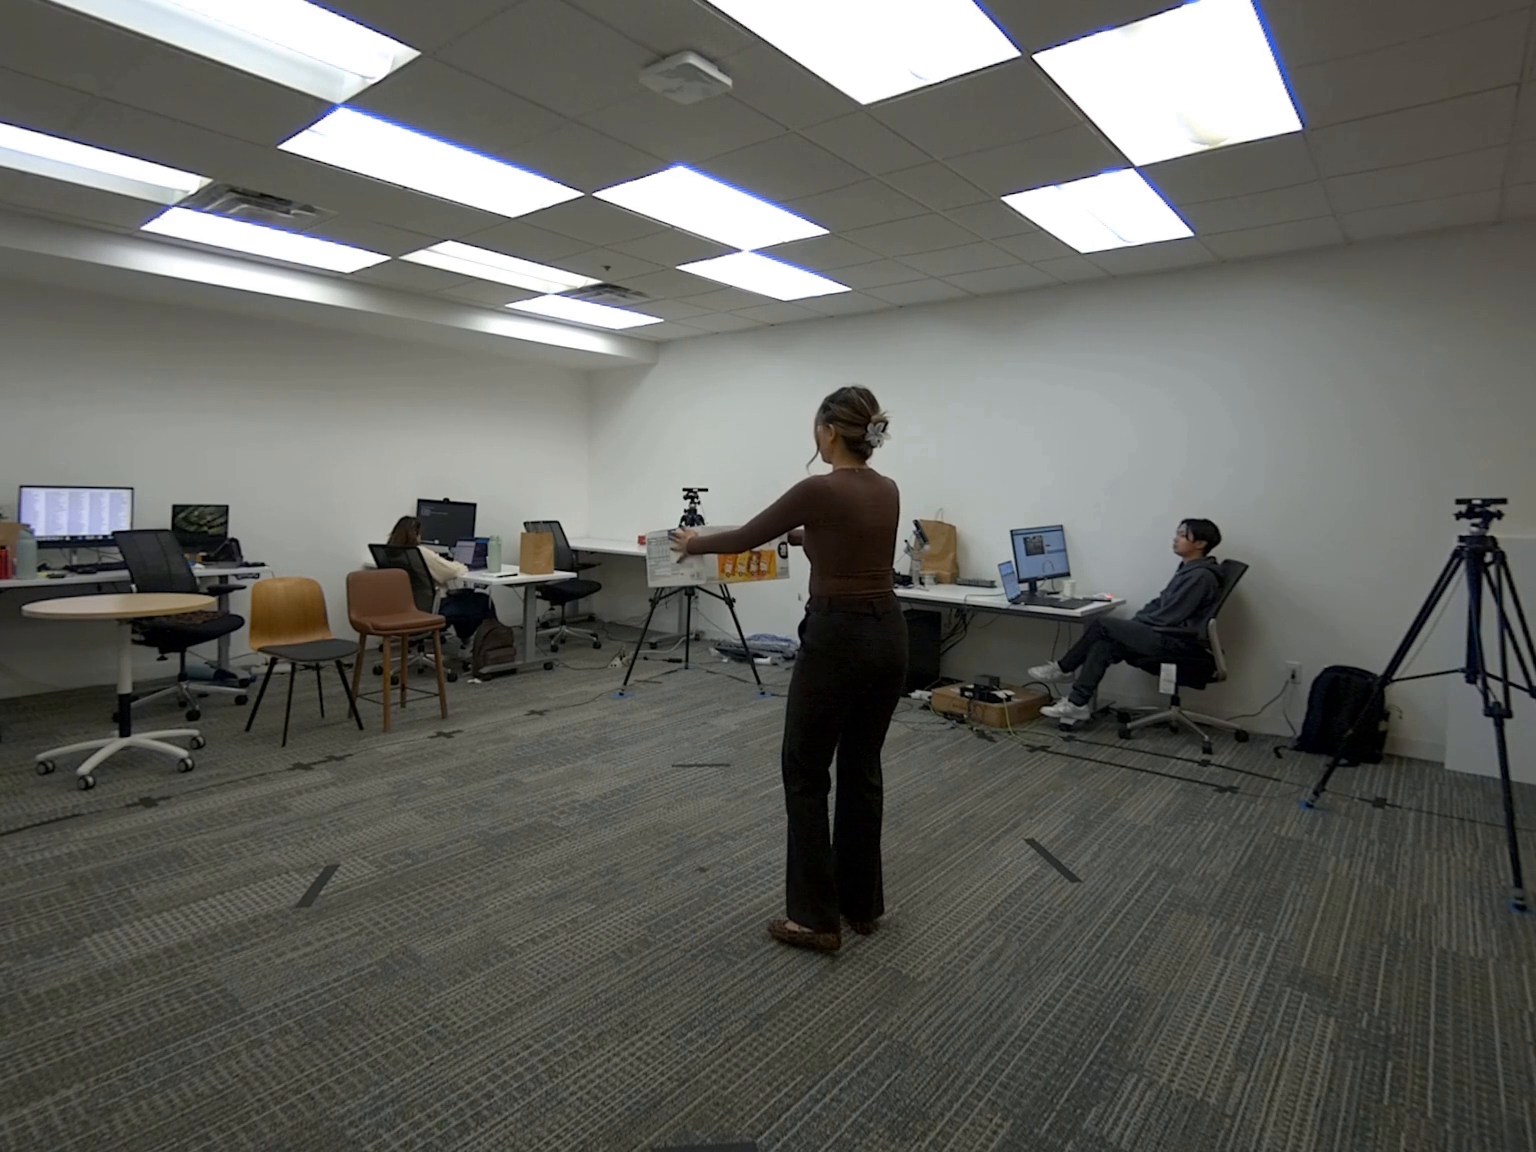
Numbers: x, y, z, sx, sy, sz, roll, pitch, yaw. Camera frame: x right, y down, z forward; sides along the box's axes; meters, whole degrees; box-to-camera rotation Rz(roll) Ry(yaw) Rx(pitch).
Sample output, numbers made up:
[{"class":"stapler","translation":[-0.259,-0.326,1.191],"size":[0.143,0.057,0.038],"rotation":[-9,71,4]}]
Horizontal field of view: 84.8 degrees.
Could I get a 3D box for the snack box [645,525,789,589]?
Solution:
[{"class":"snack box","translation":[-0.193,-0.071,3.134],"size":[0.393,0.206,0.350],"rotation":[-5,1,-42]}]
